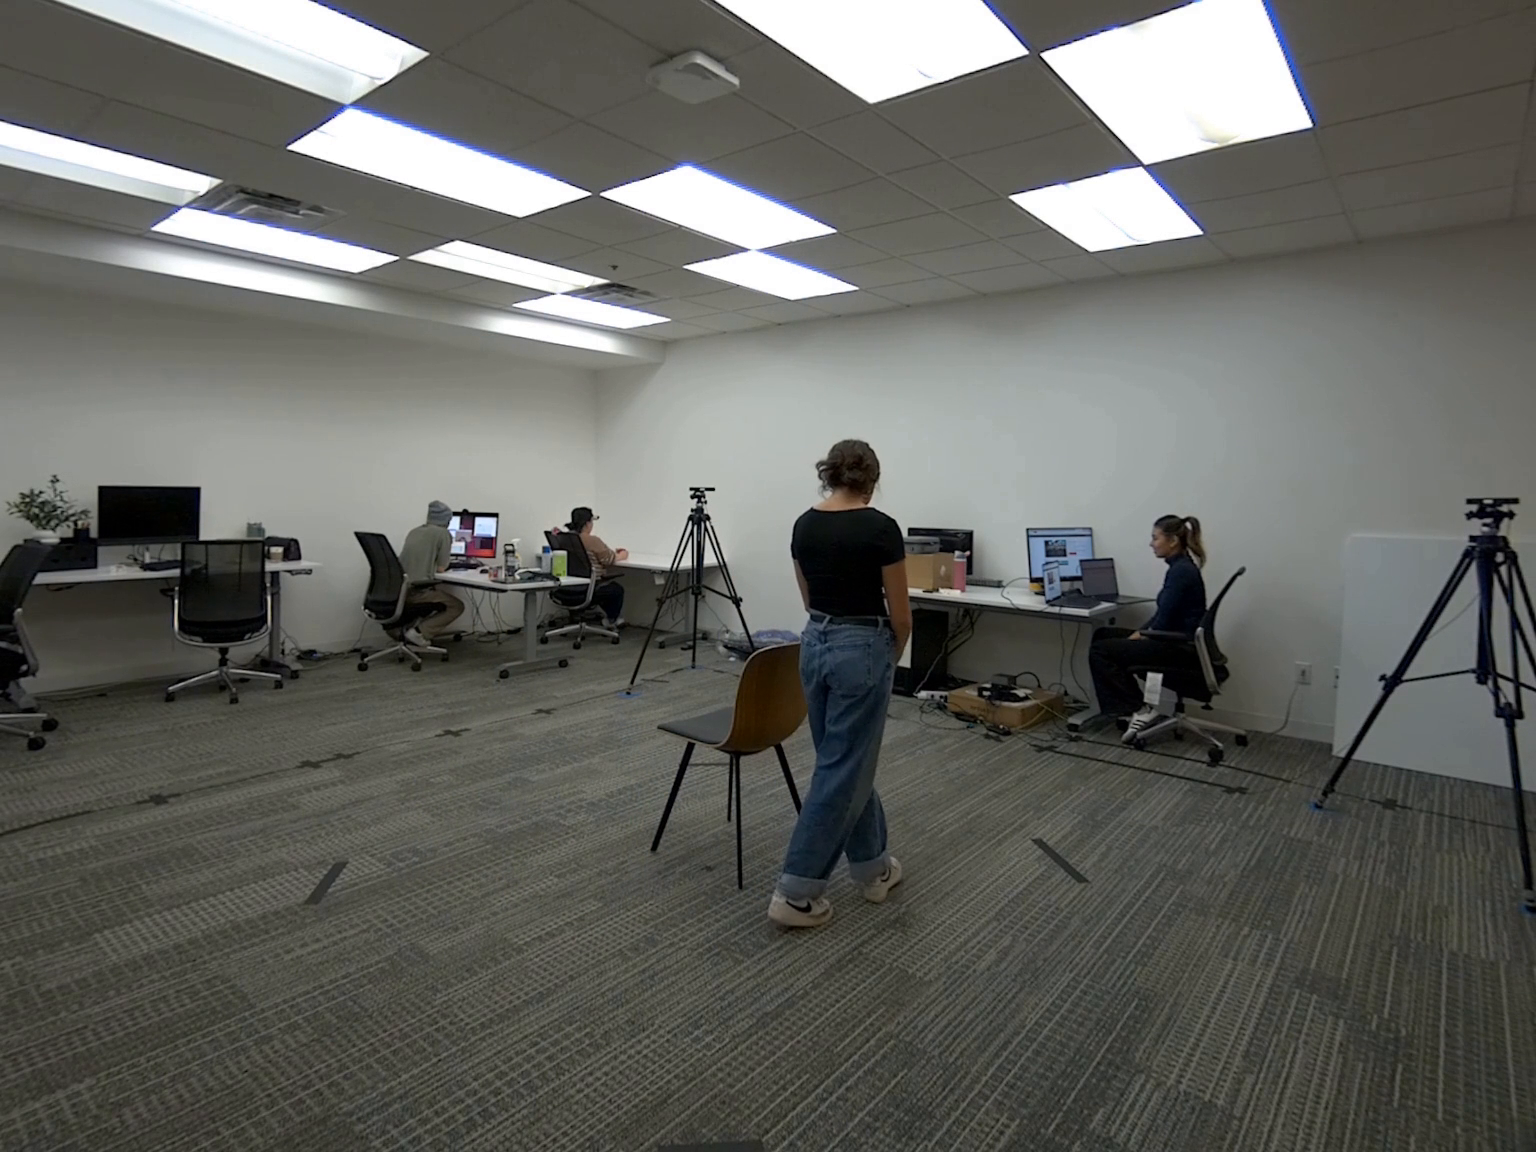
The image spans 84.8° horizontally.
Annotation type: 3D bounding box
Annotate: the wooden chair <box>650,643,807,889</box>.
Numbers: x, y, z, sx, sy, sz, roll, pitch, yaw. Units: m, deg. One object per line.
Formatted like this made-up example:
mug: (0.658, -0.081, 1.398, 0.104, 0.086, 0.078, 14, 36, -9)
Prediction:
wooden chair: (-0.137, 0.629, 3.240, 0.542, 0.873, 0.464, 10, 8, 40)
